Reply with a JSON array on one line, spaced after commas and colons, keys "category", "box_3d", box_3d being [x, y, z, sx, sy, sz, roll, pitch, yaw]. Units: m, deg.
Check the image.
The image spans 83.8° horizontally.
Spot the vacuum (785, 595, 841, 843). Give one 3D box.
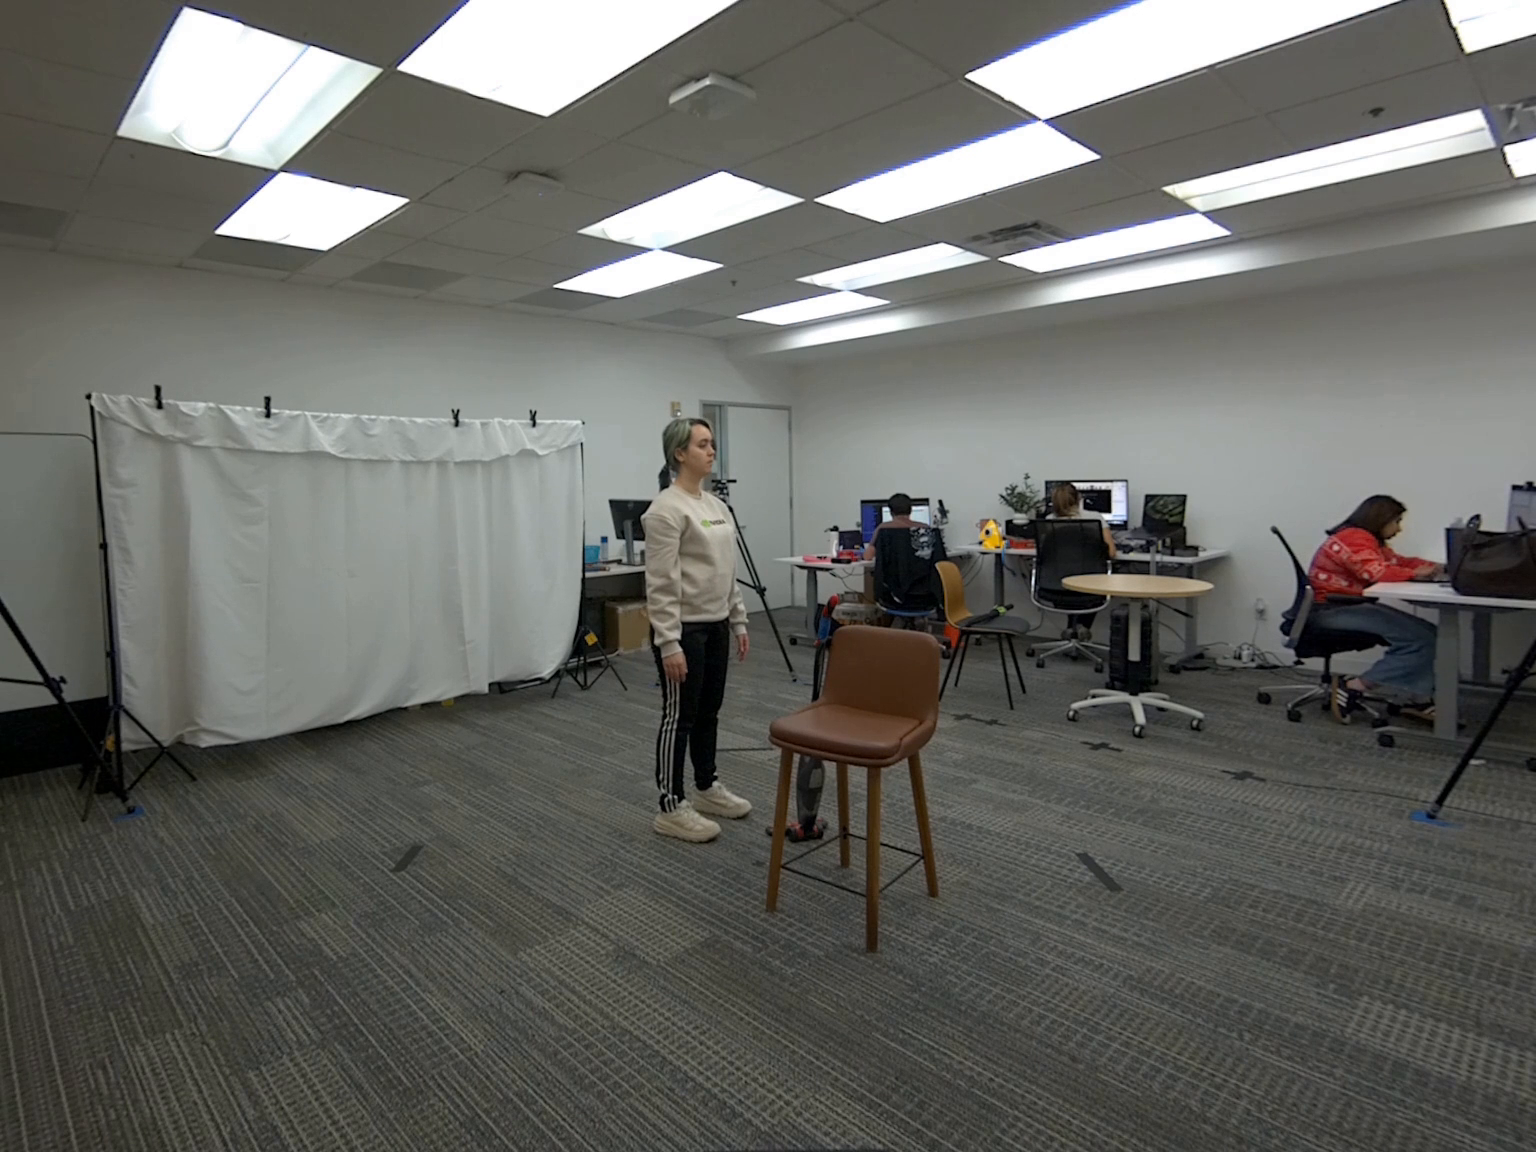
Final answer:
[{"category": "vacuum", "box_3d": [0.179, 0.541, 3.165, 0.248, 1.032, 0.149, -3, 23, -20]}]
